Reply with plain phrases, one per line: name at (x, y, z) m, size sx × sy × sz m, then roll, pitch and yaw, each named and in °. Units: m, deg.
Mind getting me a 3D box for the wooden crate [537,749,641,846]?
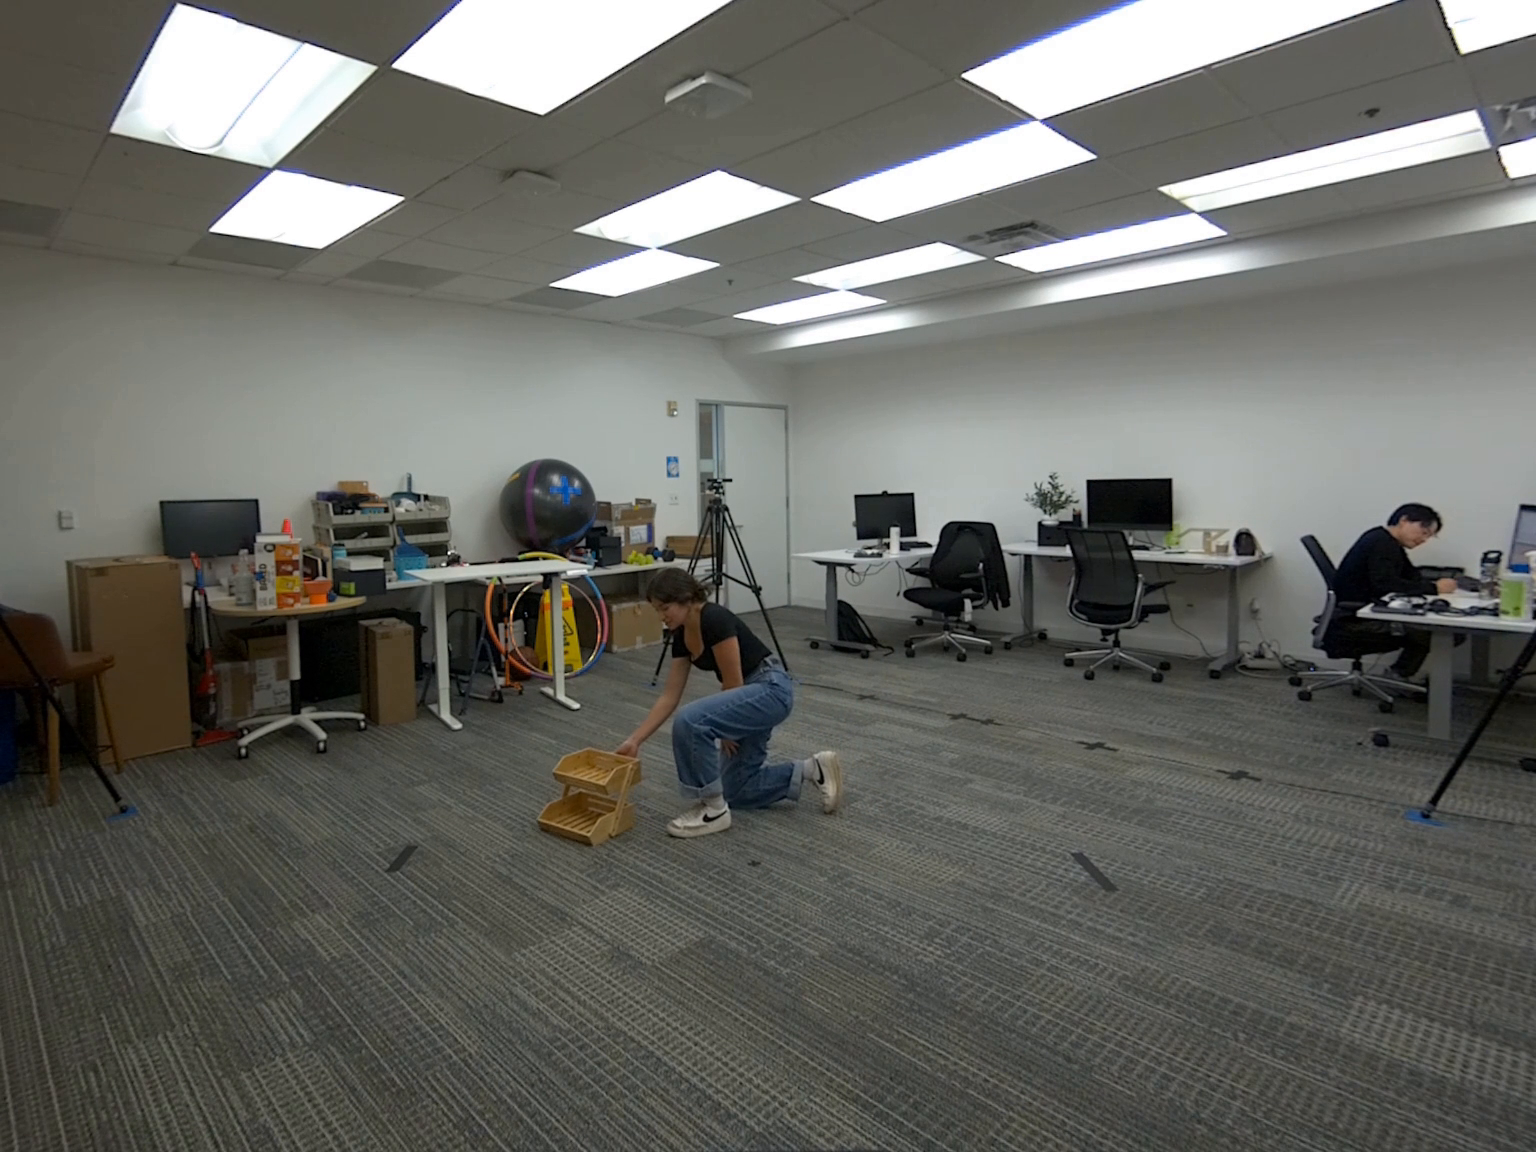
wooden crate at (-0.725, 0.884, 3.460) m, size 0.334 × 0.272 × 0.294 m, roll 2°, pitch 5°, yaw 35°
